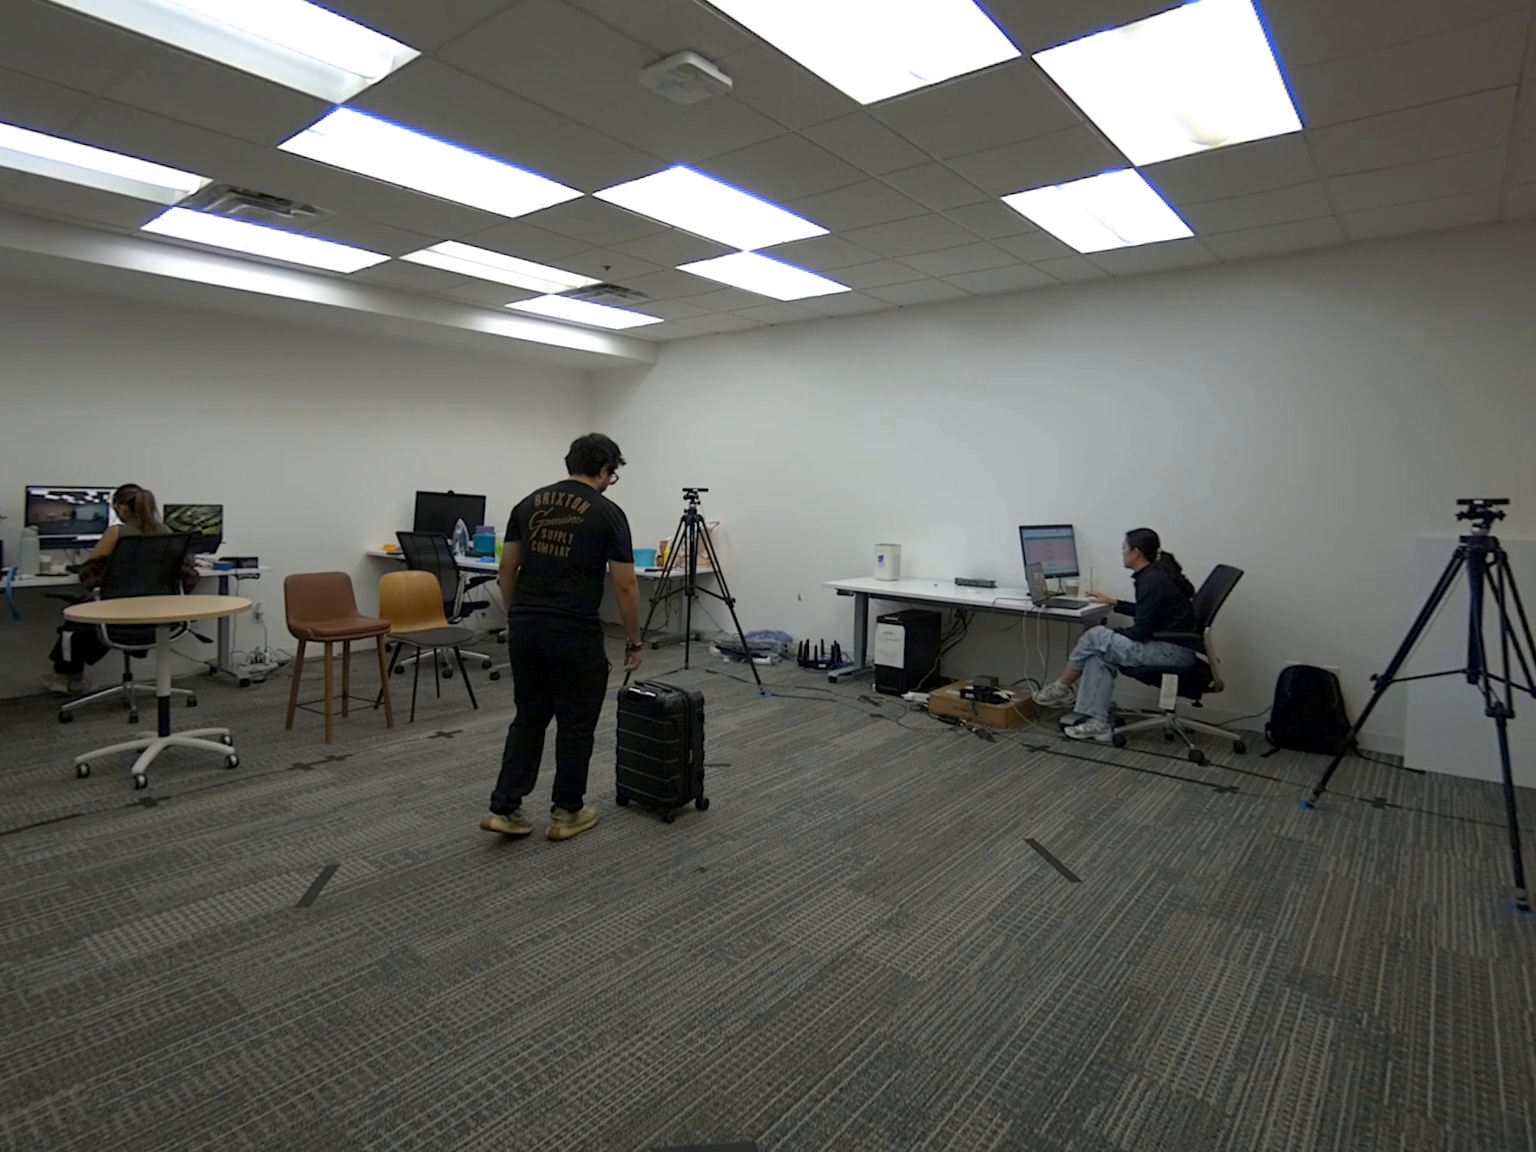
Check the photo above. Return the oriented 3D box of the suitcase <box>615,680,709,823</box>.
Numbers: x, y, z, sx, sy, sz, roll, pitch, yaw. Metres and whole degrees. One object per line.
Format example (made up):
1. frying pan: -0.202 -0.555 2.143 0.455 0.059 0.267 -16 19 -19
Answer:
1. suitcase: -0.483 0.732 3.697 0.388 0.547 0.241 4 6 41
